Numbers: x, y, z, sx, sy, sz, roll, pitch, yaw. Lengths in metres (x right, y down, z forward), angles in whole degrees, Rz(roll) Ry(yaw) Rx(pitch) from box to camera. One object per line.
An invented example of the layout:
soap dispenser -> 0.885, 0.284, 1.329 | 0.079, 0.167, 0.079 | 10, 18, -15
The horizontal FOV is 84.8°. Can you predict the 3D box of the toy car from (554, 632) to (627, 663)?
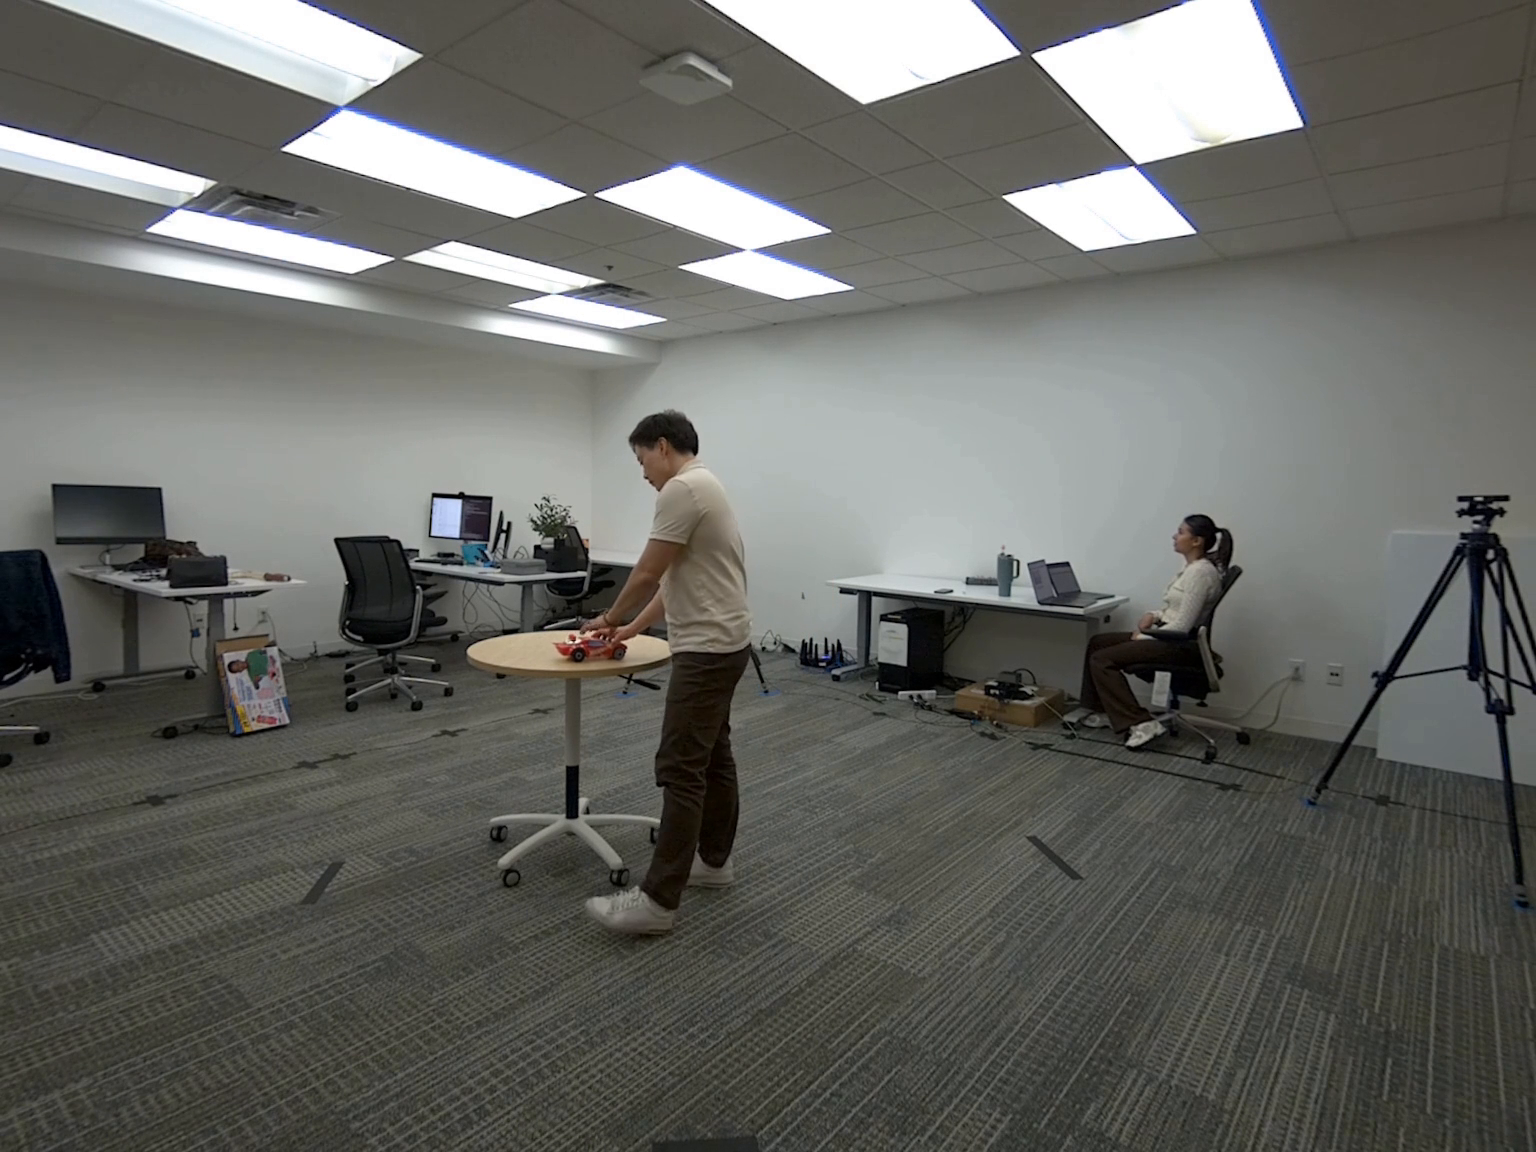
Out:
toy car -> -0.646, 0.256, 2.999 | 0.248, 0.083, 0.133 | 13, 1, -21
